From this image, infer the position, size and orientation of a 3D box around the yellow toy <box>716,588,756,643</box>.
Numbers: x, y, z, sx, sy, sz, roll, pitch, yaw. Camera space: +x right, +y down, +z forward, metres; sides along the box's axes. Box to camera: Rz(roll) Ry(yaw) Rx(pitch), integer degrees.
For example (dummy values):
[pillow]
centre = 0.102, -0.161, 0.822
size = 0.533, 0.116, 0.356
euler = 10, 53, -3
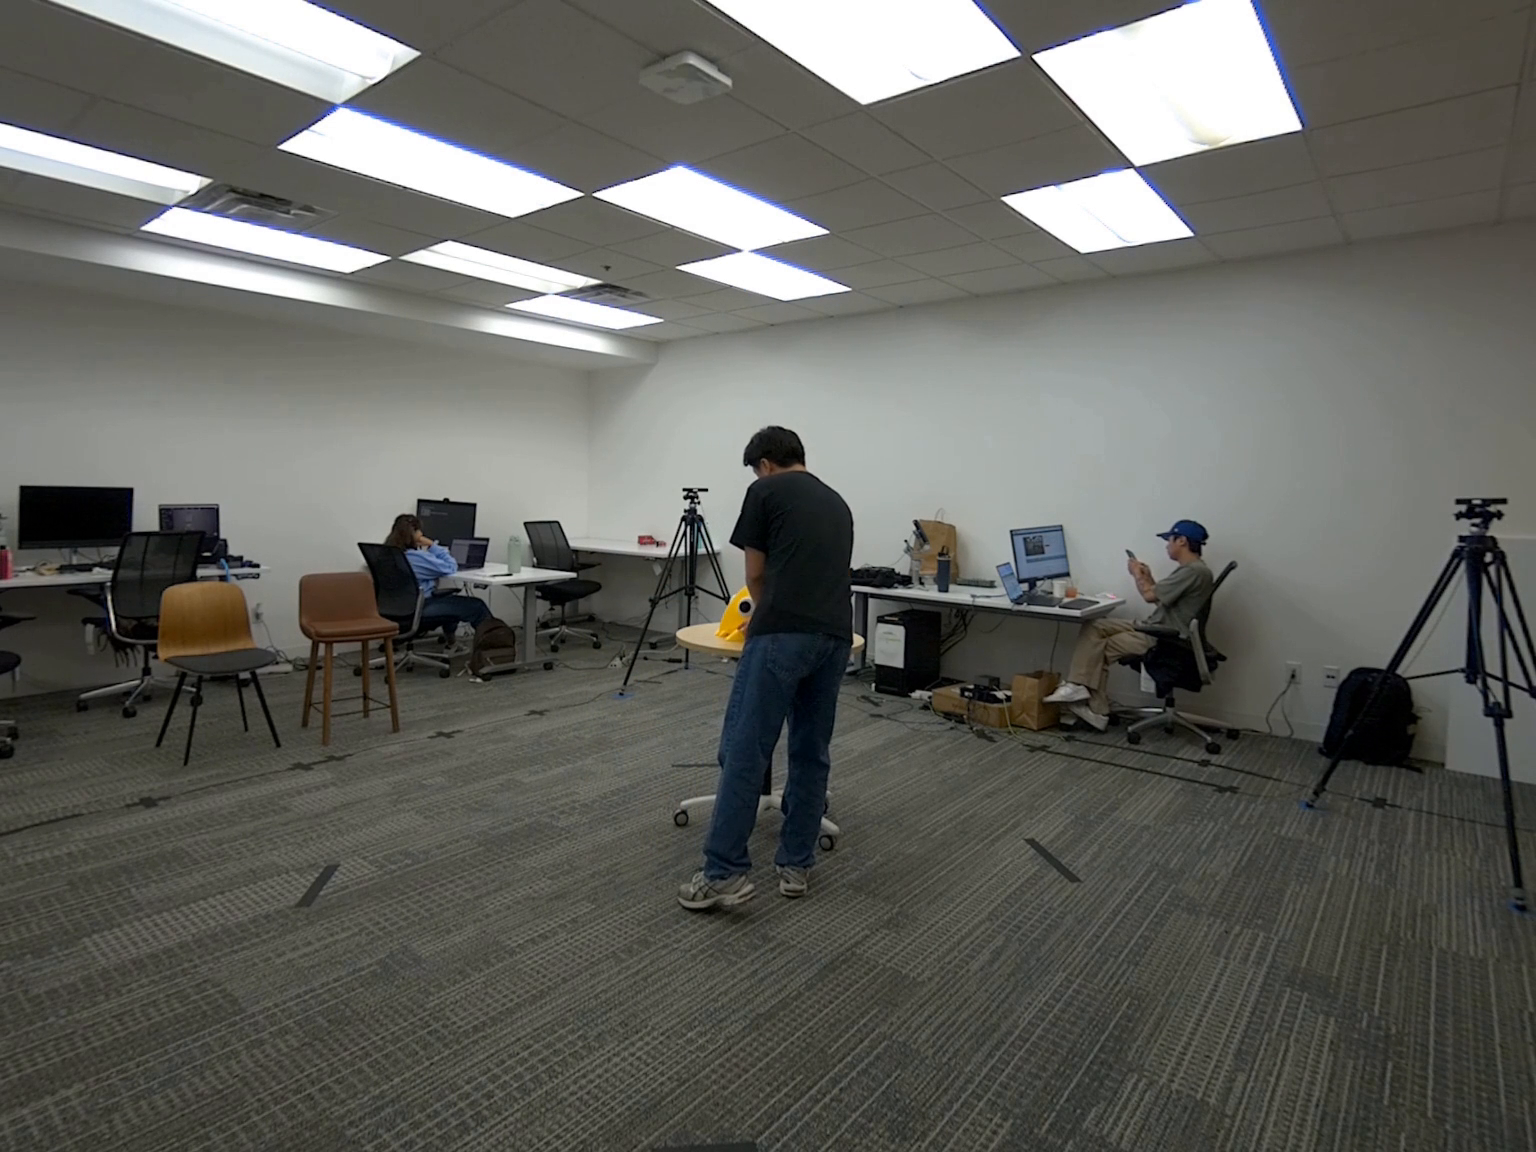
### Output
[yellow toy]
centre = -0.118, 0.131, 3.416
size = 0.189, 0.230, 0.210
euler = -1, 5, -23
